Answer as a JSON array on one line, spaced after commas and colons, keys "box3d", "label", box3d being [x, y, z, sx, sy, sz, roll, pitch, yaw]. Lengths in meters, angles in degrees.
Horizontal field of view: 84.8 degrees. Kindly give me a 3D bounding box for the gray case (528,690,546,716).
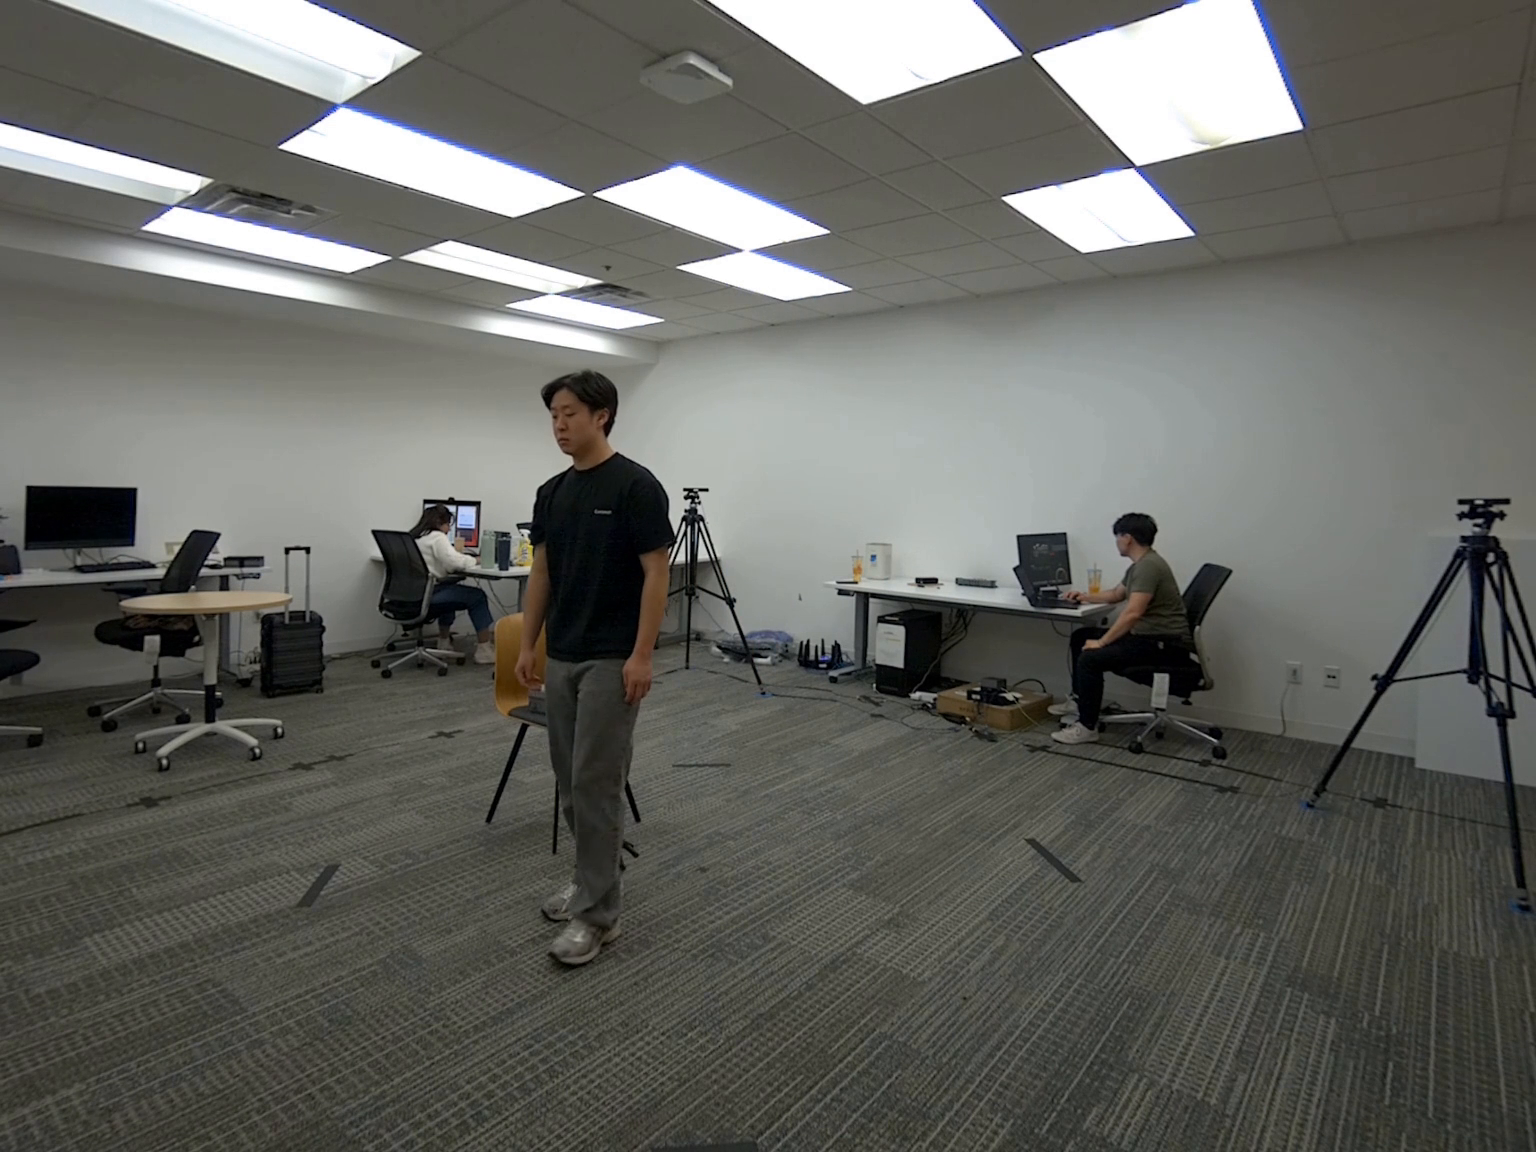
[{"box3d": [-0.833, 0.495, 3.474, 0.296, 0.103, 0.256, 0, 3, 34], "label": "gray case"}]
